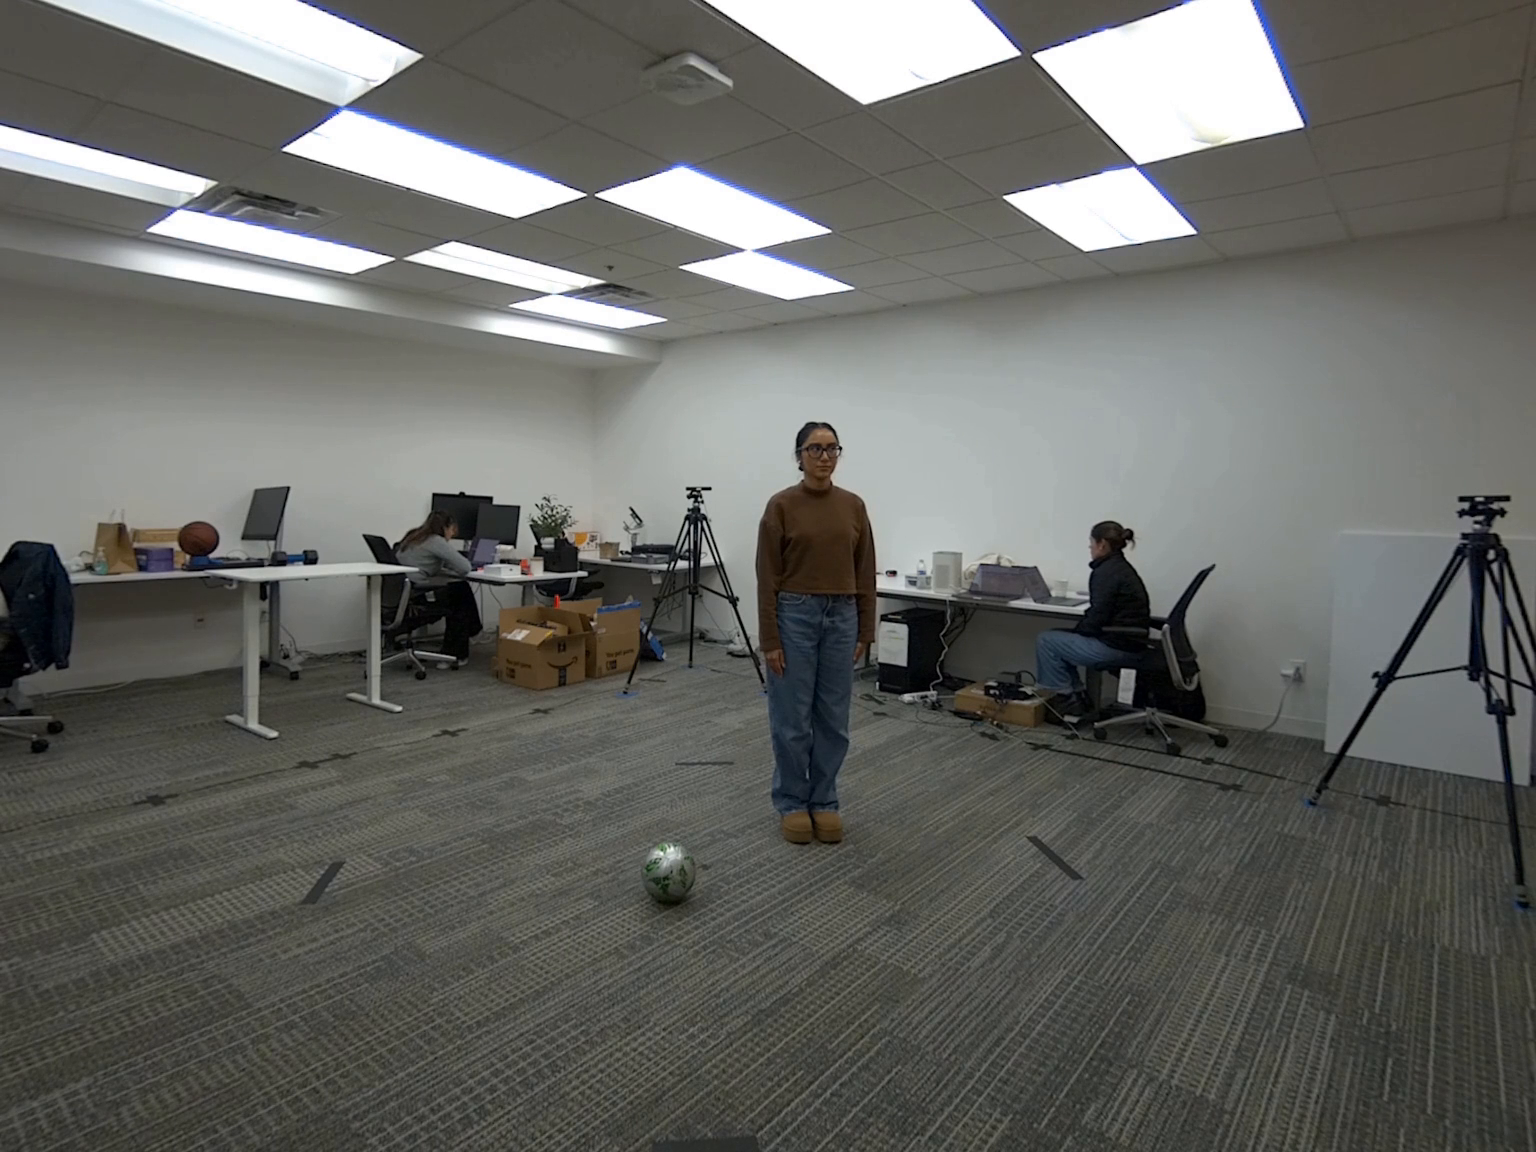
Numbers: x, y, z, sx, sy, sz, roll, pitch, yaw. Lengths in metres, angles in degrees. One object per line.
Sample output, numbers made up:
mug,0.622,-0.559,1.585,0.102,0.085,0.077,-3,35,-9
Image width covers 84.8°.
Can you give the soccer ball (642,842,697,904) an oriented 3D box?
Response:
soccer ball,-0.344,0.994,2.863,0.187,0.187,0.188,1,4,-2
